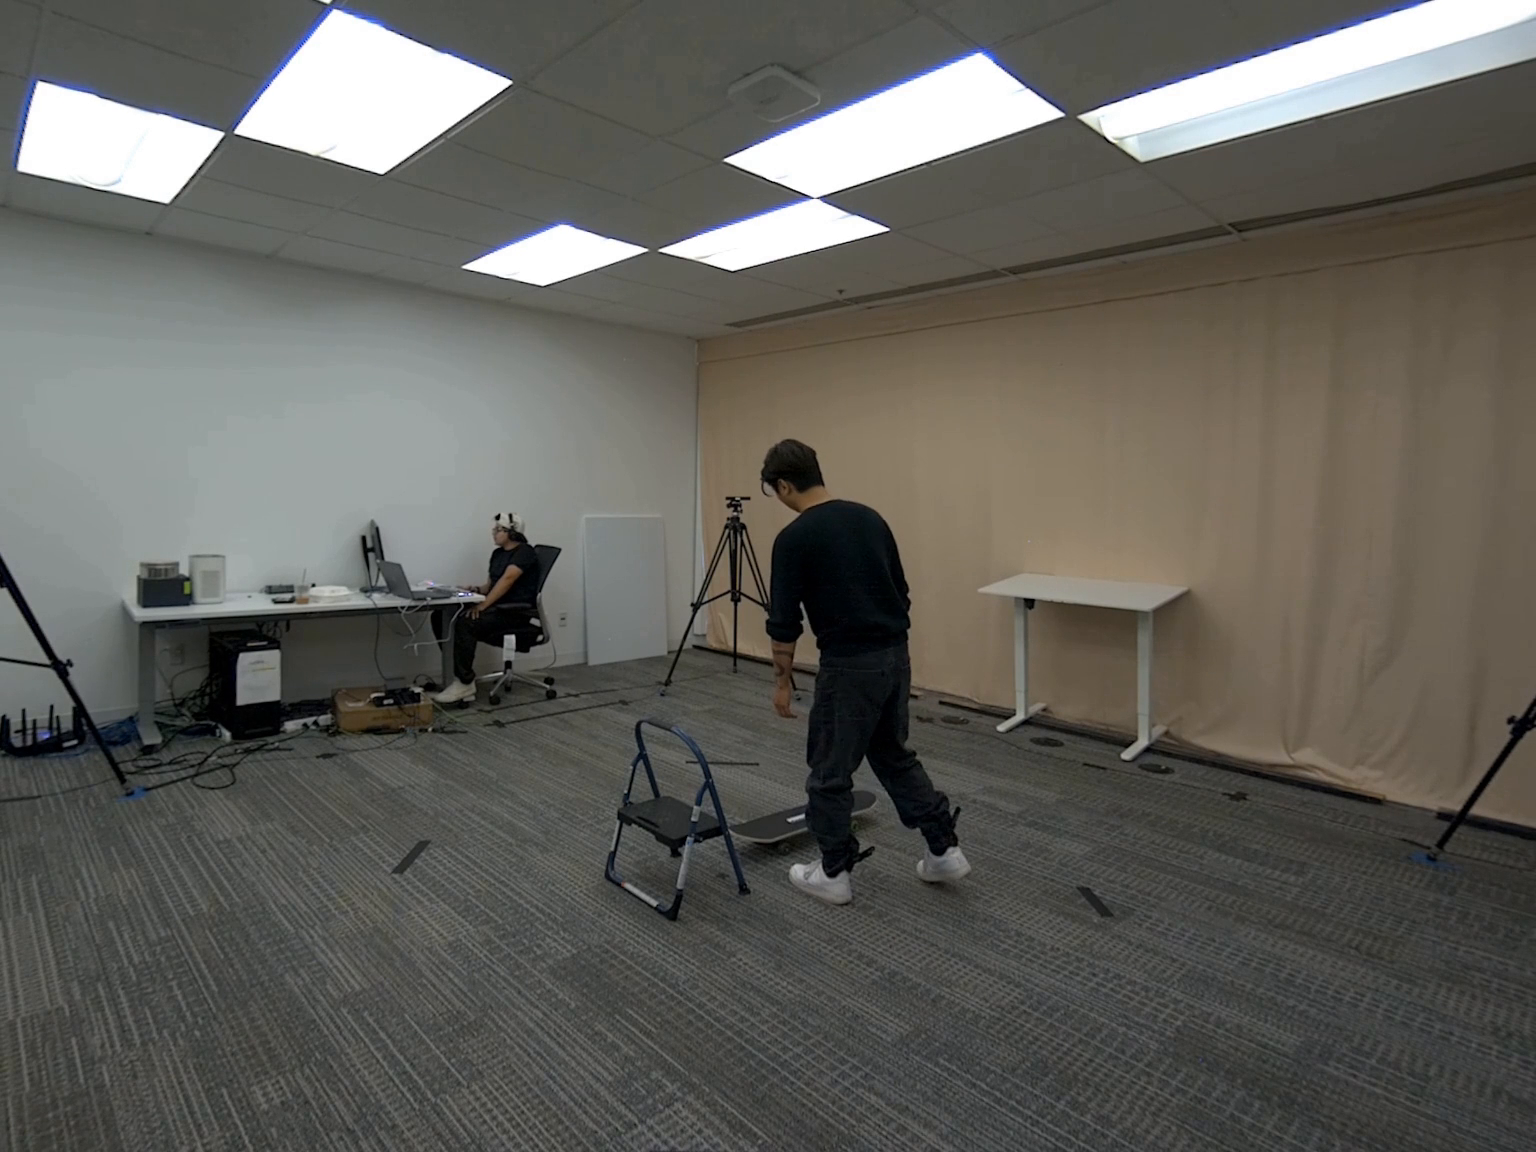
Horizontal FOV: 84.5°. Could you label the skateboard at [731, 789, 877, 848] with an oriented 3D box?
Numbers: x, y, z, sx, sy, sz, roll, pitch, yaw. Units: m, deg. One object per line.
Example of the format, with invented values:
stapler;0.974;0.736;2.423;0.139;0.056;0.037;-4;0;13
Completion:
skateboard;0.153;1.024;3.484;0.768;0.110;0.198;-3;6;-40
